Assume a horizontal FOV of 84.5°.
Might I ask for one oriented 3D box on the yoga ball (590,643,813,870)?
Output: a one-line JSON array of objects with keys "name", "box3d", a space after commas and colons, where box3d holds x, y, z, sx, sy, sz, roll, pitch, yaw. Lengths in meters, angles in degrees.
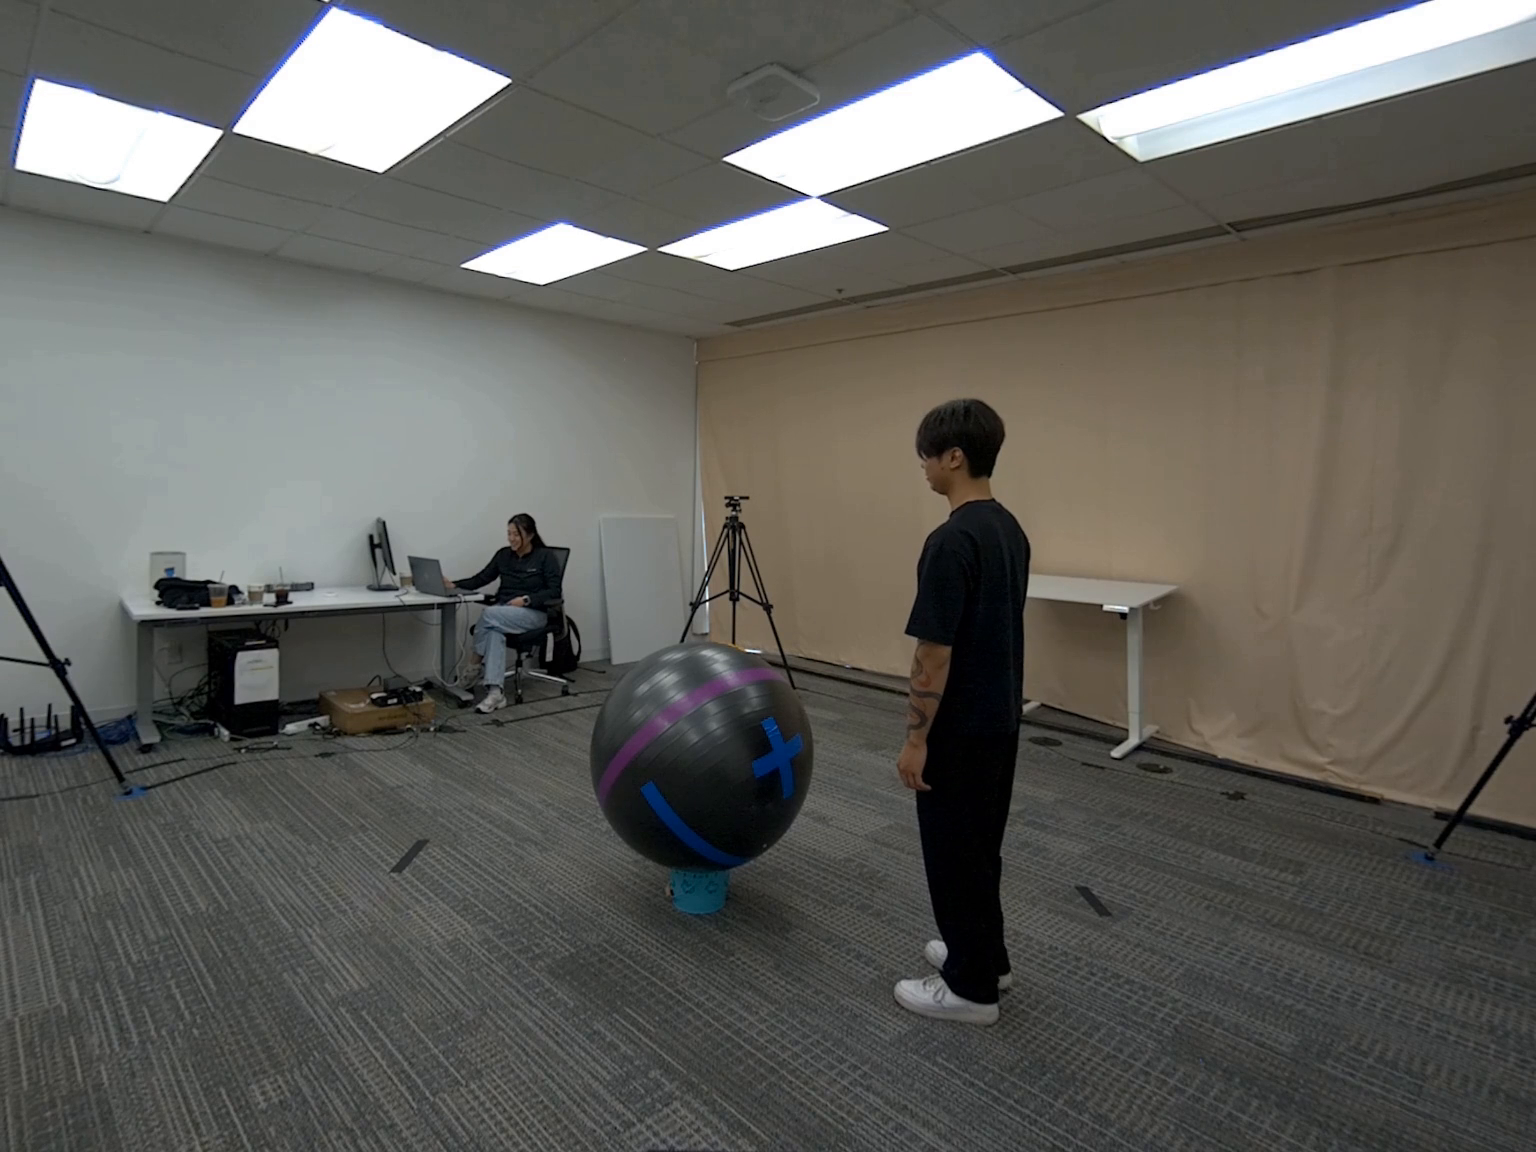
[{"name": "yoga ball", "box3d": [-0.229, 0.610, 2.875, 0.757, 0.756, 0.761, 1, 4, -1]}]
